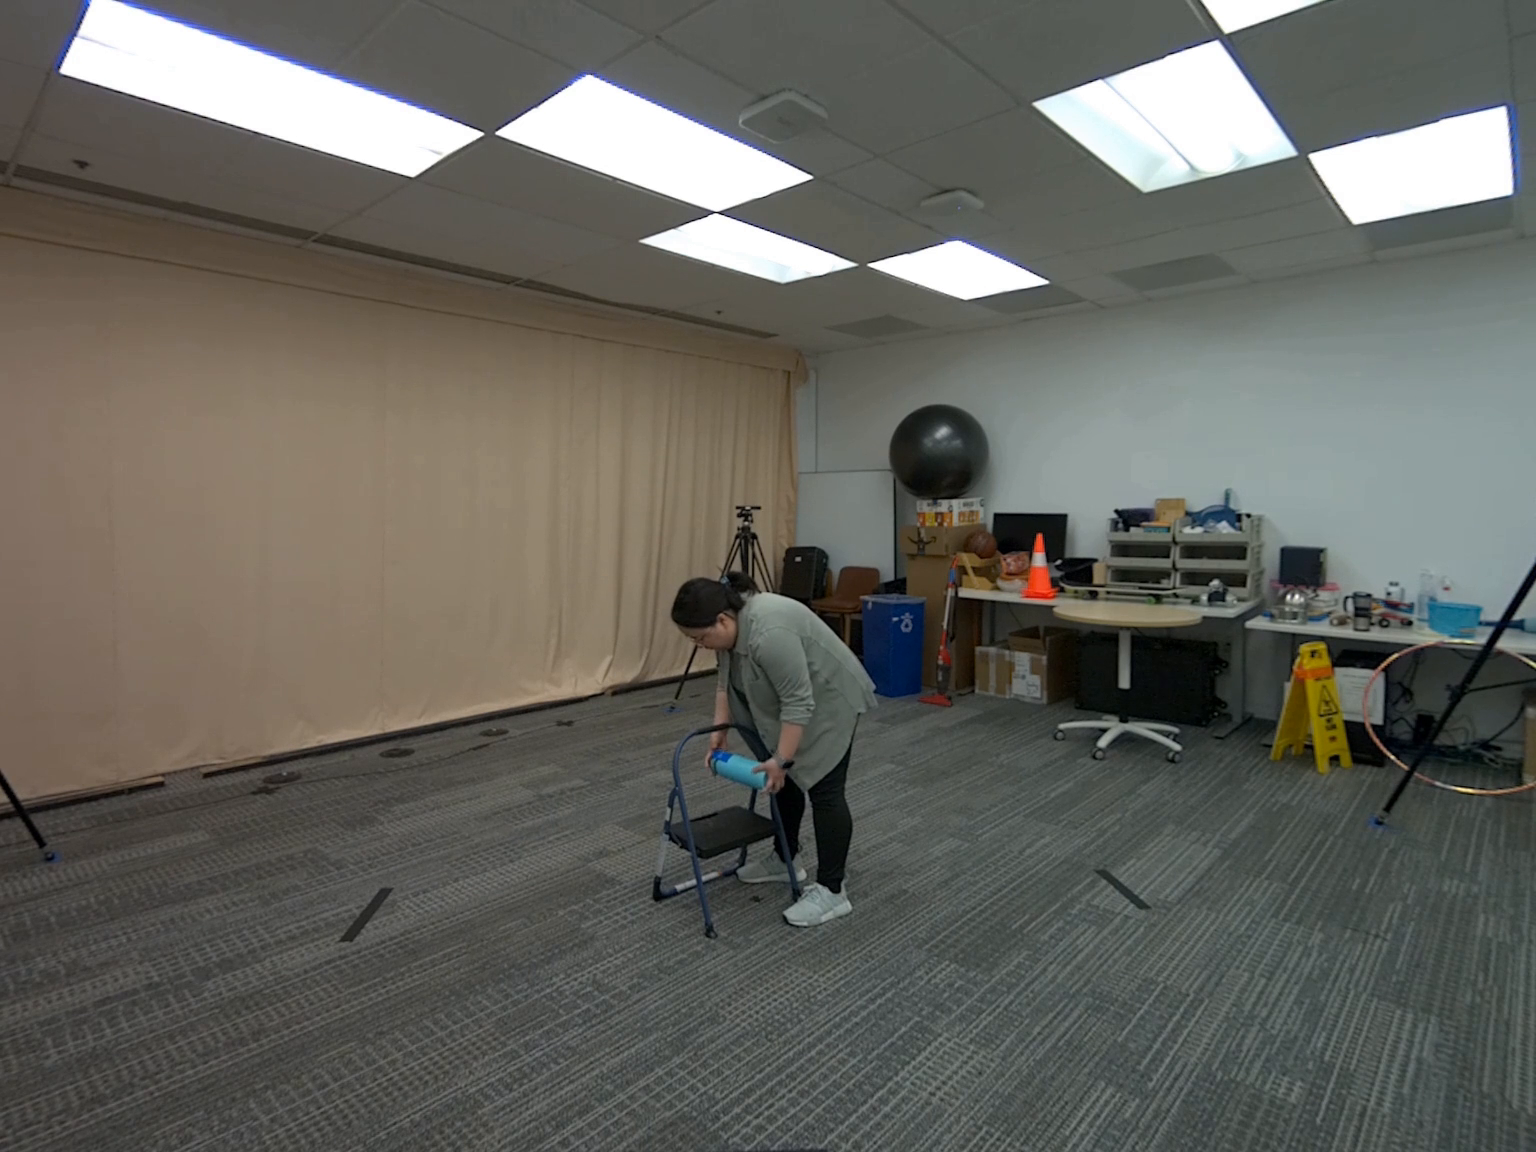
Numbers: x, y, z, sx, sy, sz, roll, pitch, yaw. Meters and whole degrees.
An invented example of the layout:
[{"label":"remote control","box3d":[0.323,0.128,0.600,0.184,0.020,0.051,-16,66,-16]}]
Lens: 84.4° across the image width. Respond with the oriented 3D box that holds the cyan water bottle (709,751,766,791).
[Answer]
[{"label":"cyan water bottle","box3d":[-0.093,0.679,2.934,0.293,0.092,0.089,6,7,41]}]
